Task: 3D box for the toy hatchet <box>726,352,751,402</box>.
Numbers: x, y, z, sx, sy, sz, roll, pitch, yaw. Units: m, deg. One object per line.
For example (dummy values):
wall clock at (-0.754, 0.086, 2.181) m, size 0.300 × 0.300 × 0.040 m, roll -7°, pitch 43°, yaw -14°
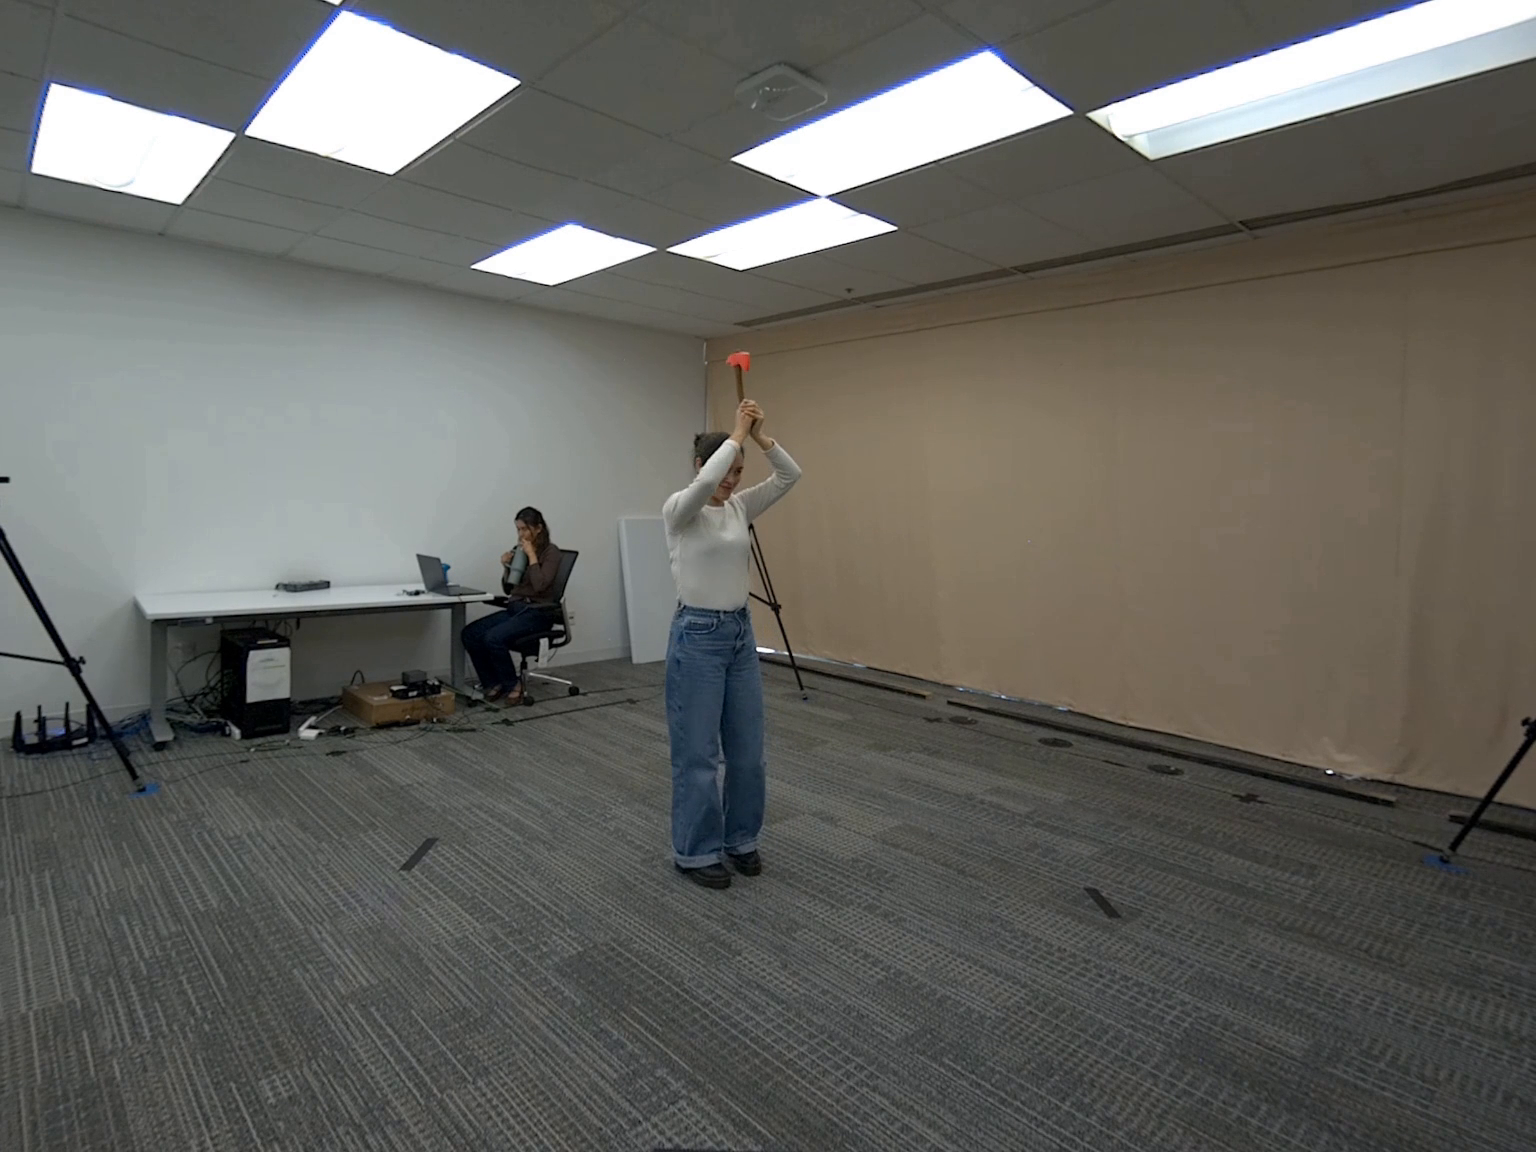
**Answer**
toy hatchet at (-0.076, -0.660, 2.910) m, size 0.029 × 0.273 × 0.132 m, roll -5°, pitch -16°, yaw -36°
